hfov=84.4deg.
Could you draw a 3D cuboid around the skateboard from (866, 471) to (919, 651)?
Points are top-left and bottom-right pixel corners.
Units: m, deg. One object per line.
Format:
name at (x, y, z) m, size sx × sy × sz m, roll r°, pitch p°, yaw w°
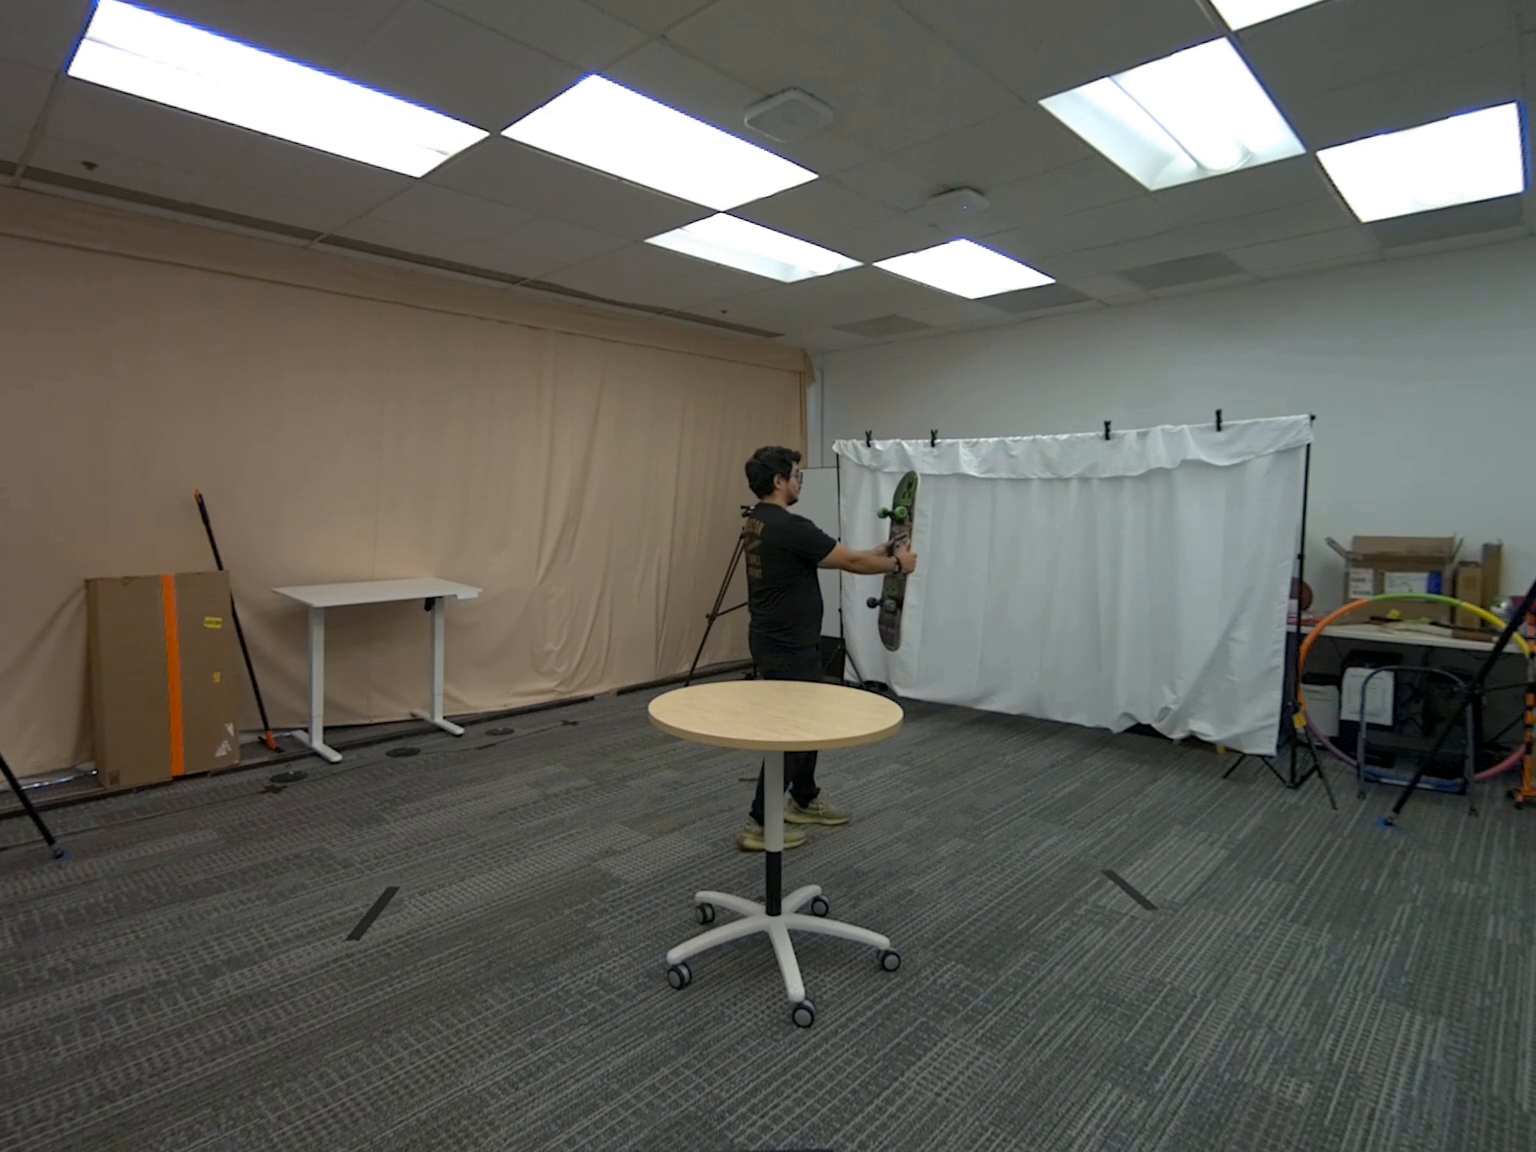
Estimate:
skateboard at (0.543, -0.070, 3.637) m, size 0.108 × 0.785 × 0.198 m, roll 7°, pitch 0°, yaw -22°
